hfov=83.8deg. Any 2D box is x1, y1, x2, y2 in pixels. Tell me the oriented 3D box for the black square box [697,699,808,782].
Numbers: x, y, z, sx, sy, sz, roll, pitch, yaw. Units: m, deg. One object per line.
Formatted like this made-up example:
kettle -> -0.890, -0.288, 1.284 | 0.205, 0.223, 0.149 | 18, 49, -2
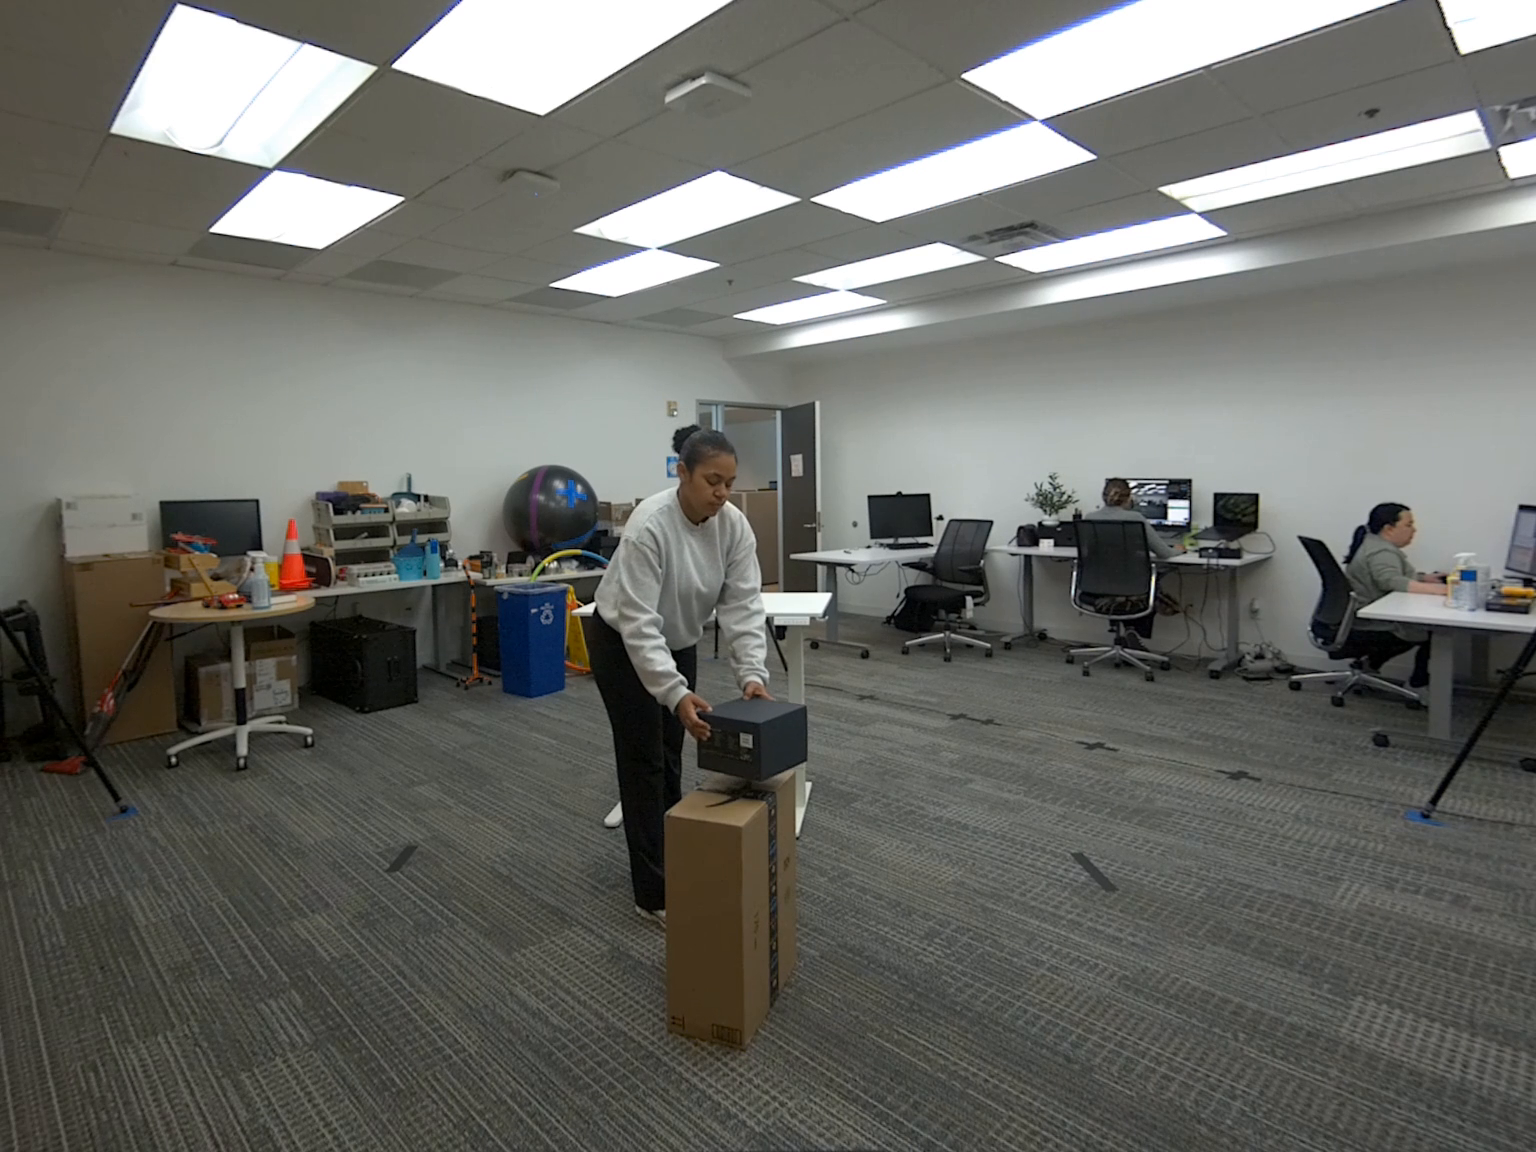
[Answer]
black square box -> -0.042, 0.438, 2.336 | 0.223, 0.155, 0.222 | 1, 5, 37
